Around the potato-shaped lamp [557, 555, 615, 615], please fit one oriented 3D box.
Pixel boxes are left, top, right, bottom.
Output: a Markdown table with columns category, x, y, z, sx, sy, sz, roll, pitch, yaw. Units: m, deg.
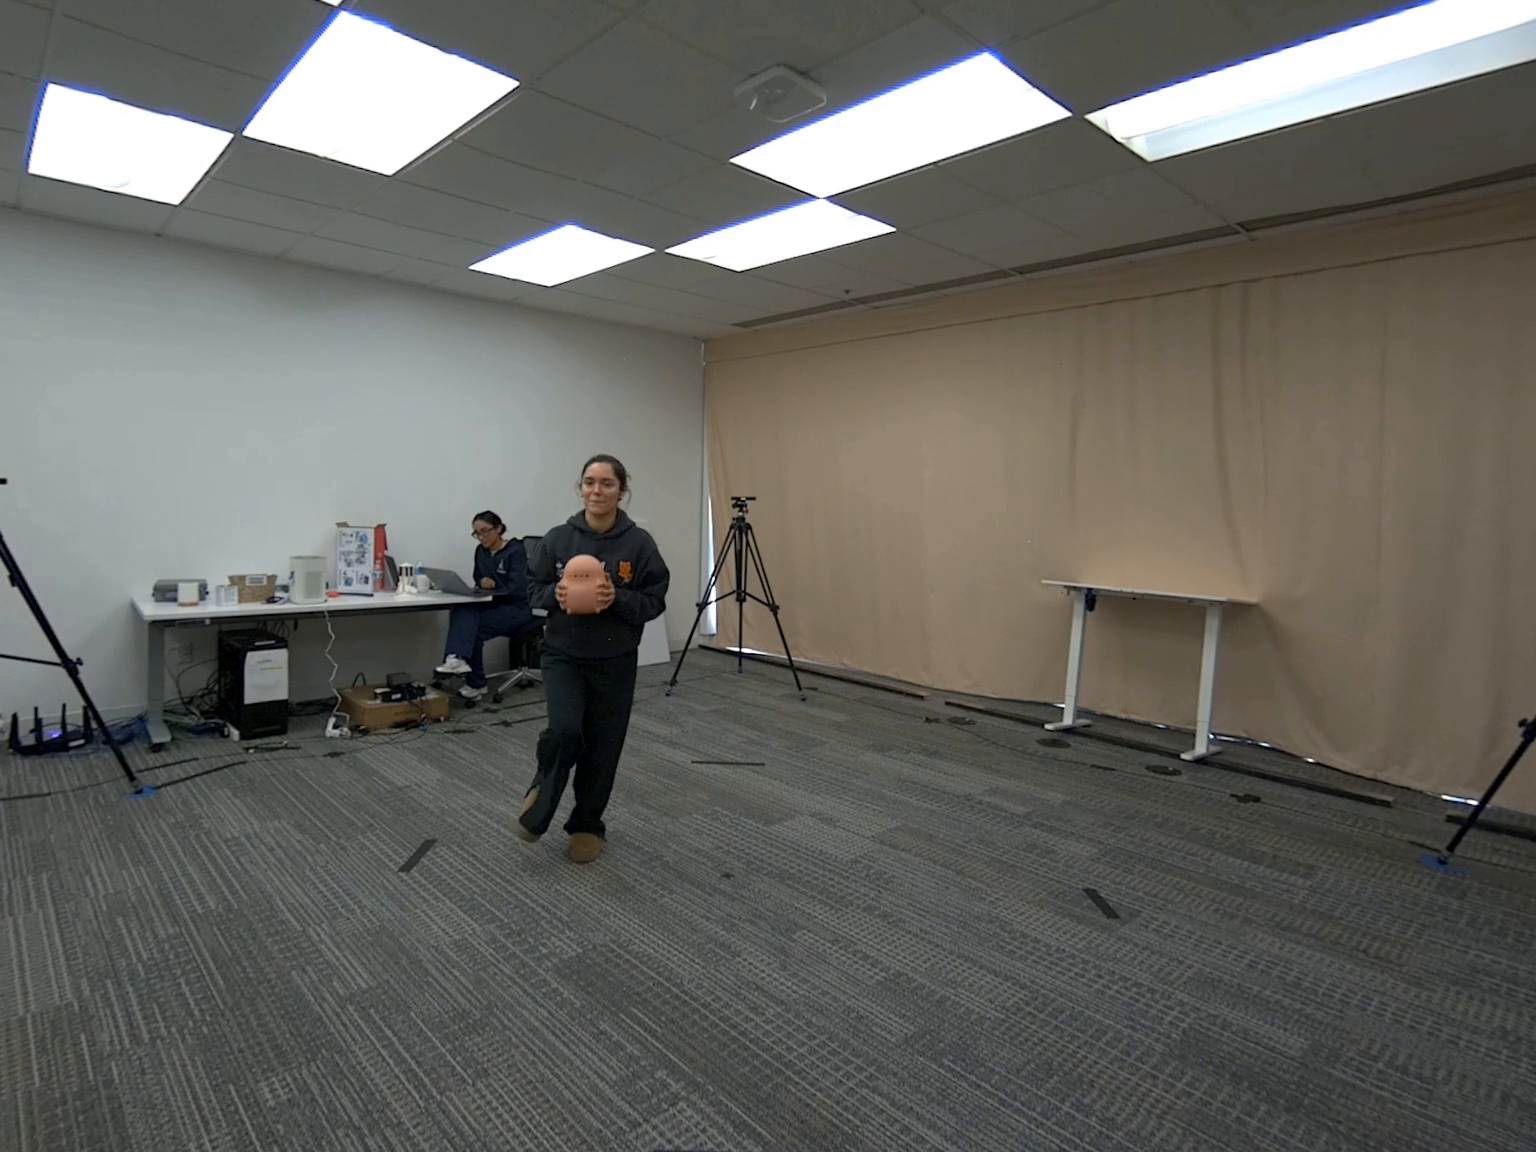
| category | x | y | z | sx | sy | sz | roll | pitch | yaw |
| --- | --- | --- | --- | --- | --- | --- | --- | --- | --- |
| potato-shaped lamp | -0.675 | -0.015 | 2.987 | 0.165 | 0.196 | 0.172 | 6 | 15 | 3 |
